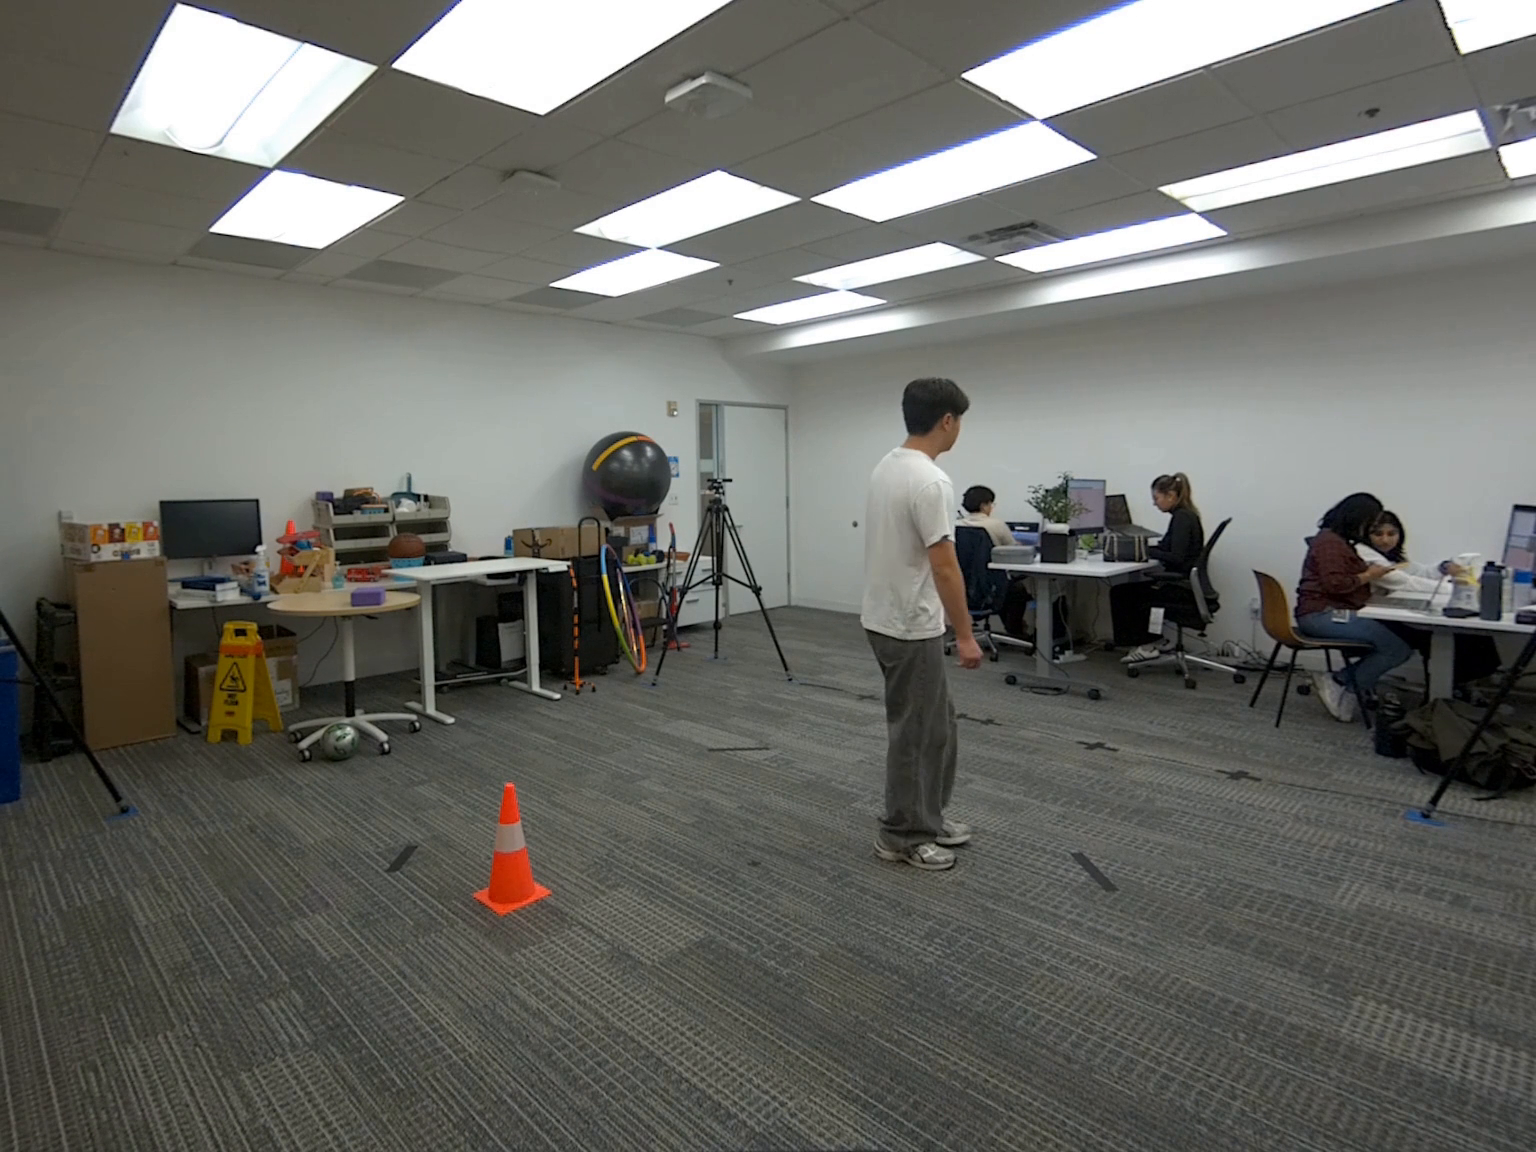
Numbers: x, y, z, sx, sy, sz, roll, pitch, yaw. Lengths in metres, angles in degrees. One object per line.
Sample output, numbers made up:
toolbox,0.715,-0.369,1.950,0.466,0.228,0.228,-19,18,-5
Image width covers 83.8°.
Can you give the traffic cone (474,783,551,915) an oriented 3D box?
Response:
traffic cone,-0.879,0.901,2.904,0.199,0.383,0.209,-6,4,-43
